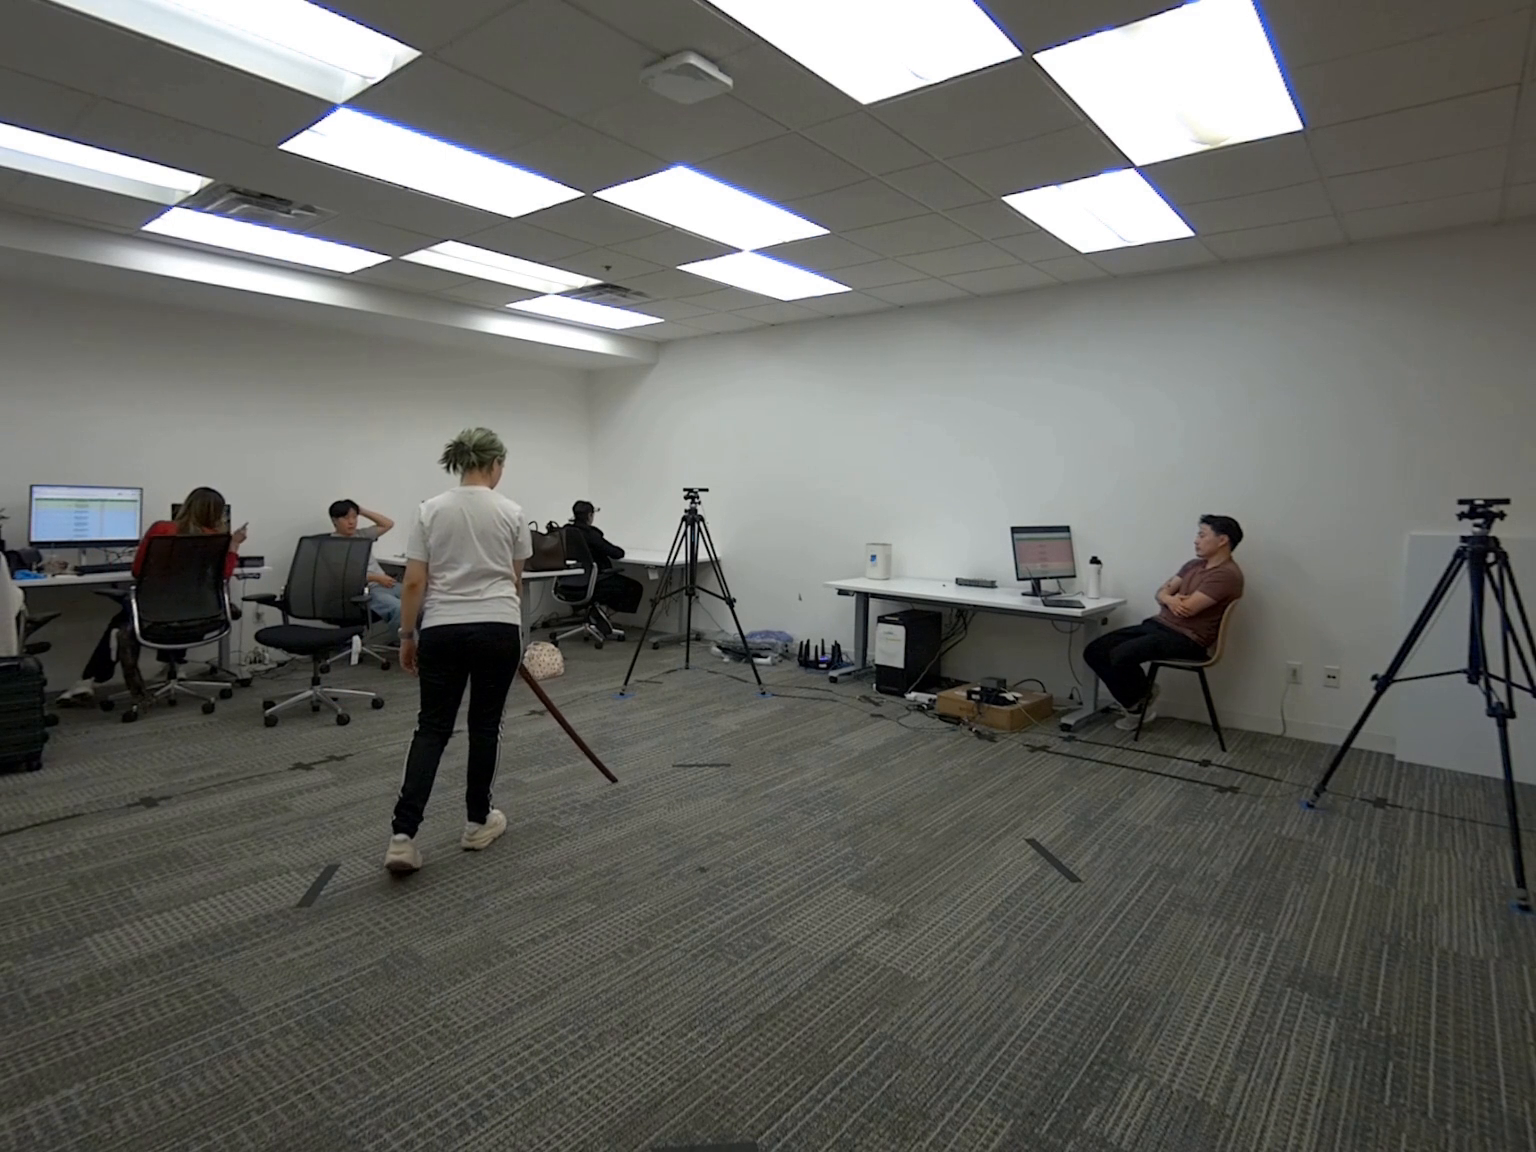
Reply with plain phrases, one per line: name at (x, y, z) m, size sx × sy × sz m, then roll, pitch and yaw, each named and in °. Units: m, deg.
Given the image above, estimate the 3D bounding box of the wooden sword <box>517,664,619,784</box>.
wooden sword at (-0.940, 0.618, 3.741) m, size 0.024 × 0.986 × 0.052 m, roll -17°, pitch 37°, yaw 16°
